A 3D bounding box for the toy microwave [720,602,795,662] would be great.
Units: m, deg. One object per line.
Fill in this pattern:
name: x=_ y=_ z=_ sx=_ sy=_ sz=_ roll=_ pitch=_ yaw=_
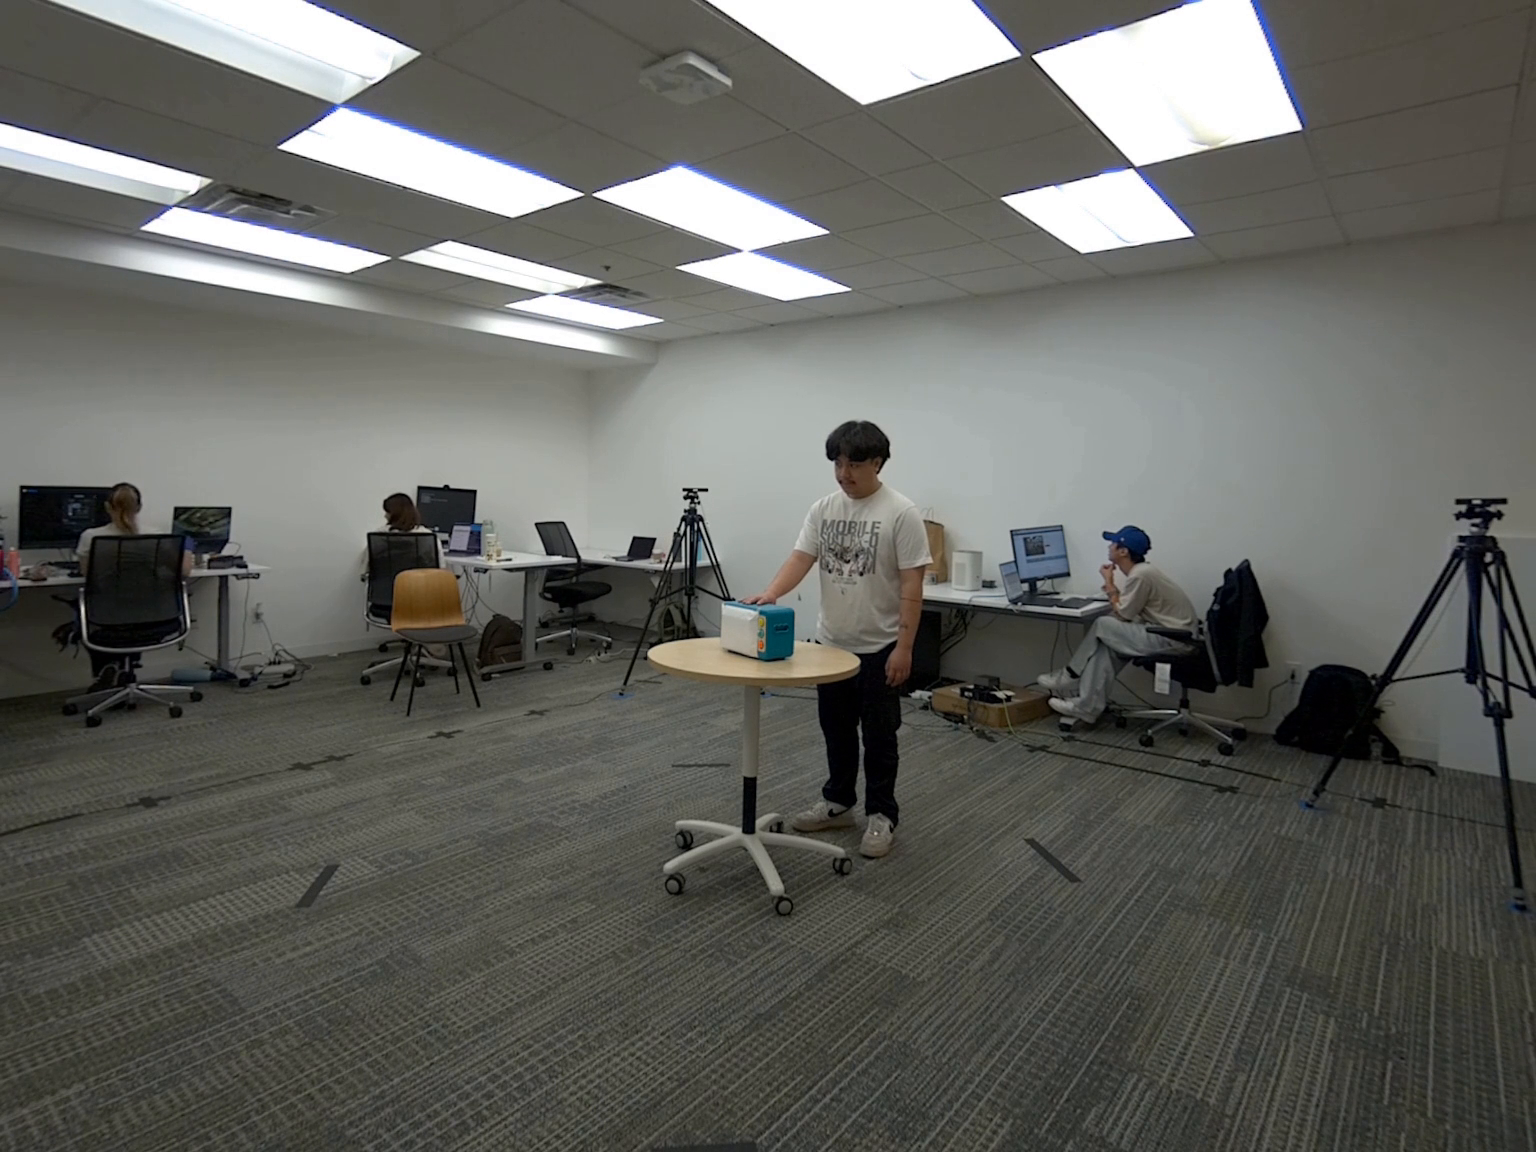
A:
toy microwave: x=-0.054 y=0.190 z=3.082 sx=0.148 sy=0.183 sz=0.296 roll=-1 pitch=5 yaw=-37
